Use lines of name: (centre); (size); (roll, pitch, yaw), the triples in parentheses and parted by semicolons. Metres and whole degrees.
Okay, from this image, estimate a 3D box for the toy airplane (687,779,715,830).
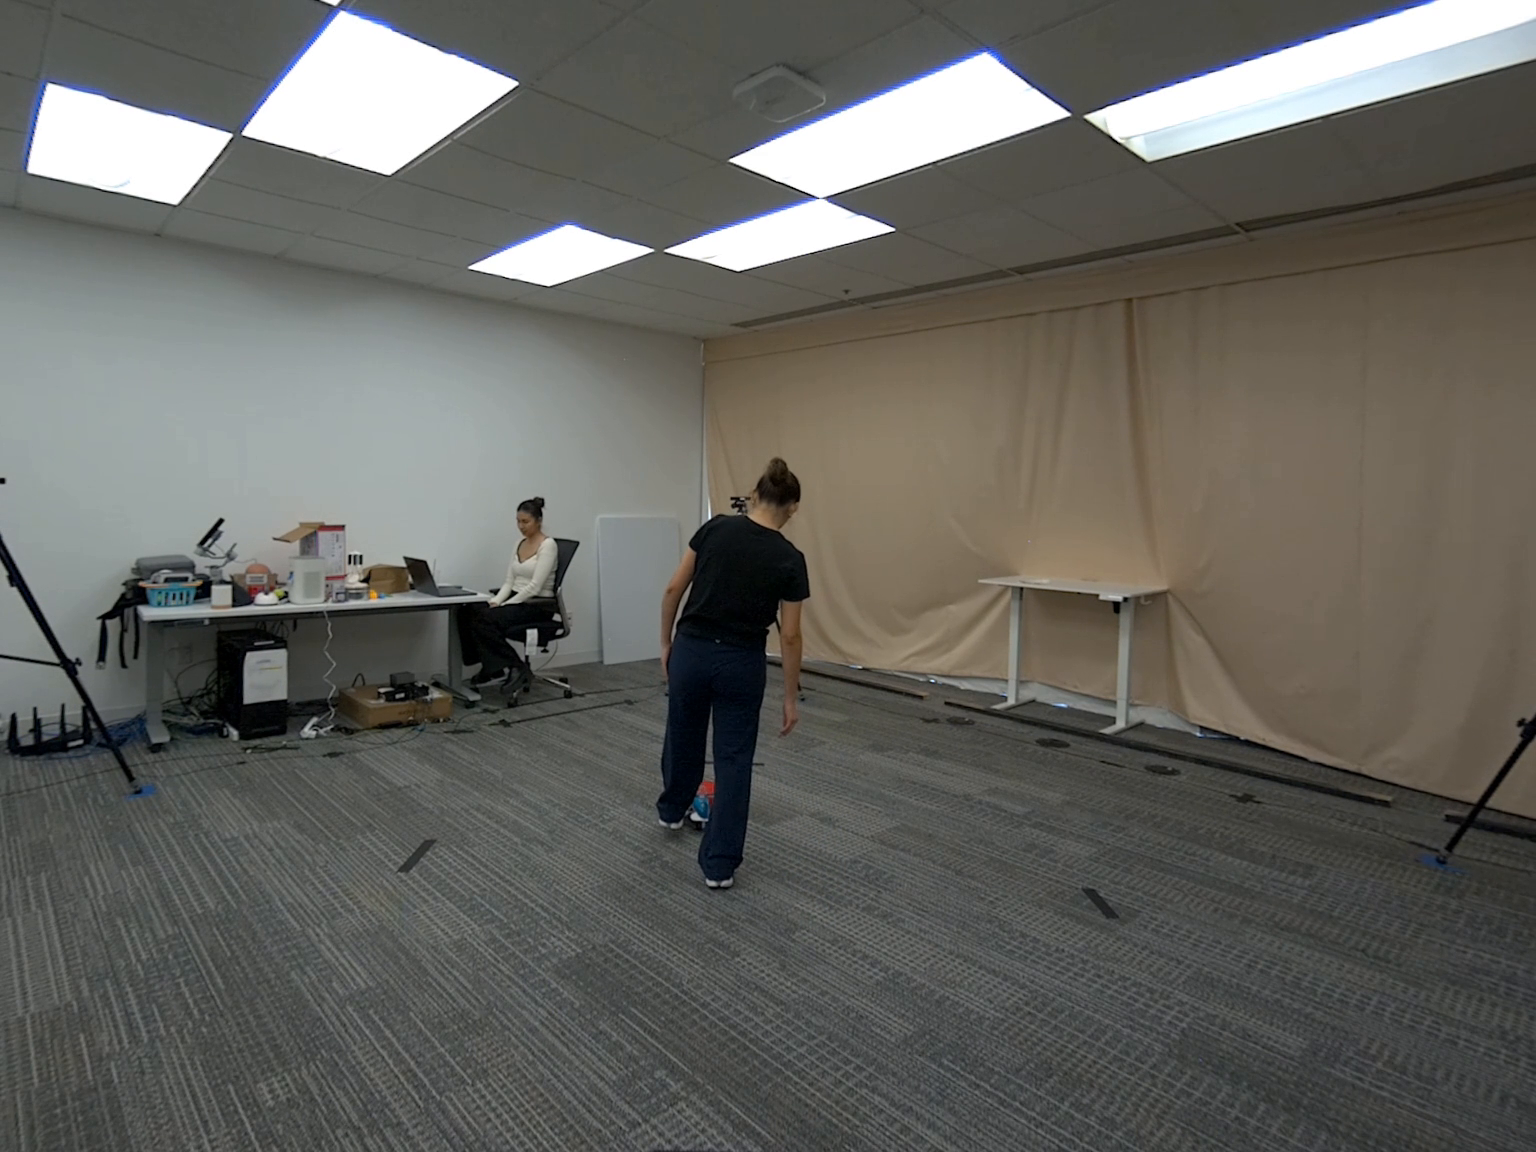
toy airplane: (-0.292, 0.985, 3.615); (0.266, 0.156, 0.245); (9, 6, 43)
